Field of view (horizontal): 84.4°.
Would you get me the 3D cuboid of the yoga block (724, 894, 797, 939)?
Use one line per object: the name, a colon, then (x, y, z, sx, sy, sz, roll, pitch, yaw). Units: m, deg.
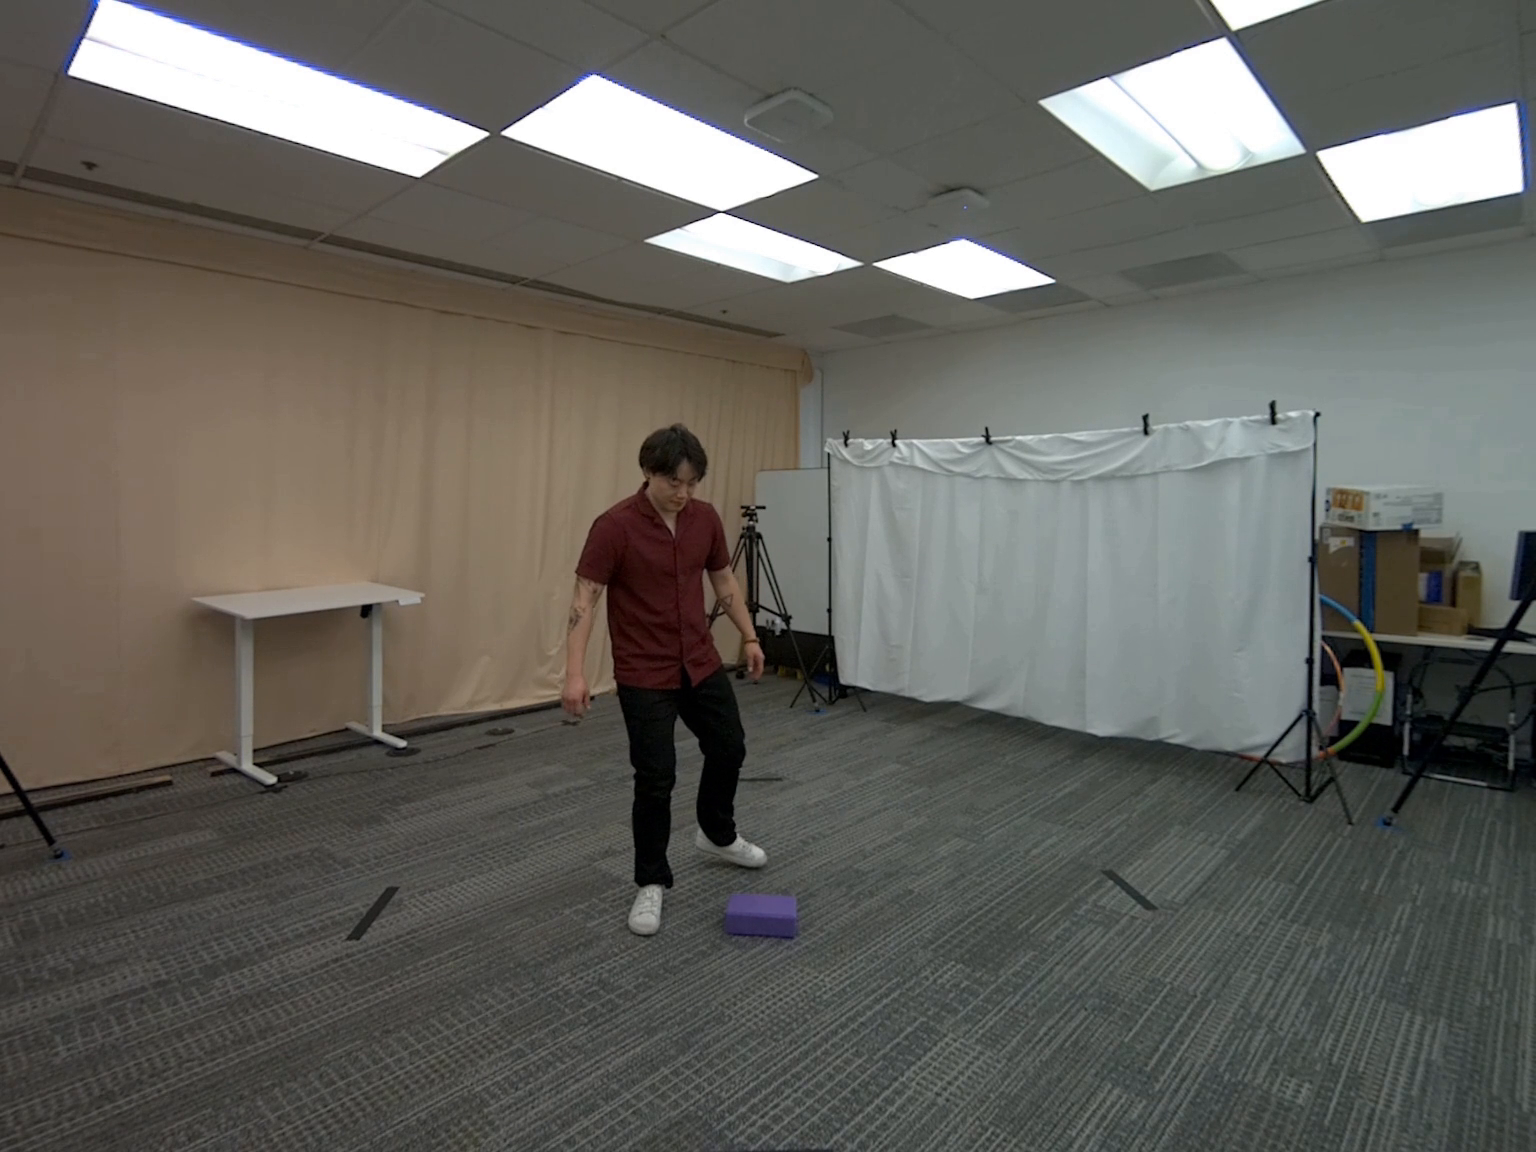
yoga block: (-0.014, 1.121, 2.781, 0.231, 0.076, 0.148, 1, 5, 6)
